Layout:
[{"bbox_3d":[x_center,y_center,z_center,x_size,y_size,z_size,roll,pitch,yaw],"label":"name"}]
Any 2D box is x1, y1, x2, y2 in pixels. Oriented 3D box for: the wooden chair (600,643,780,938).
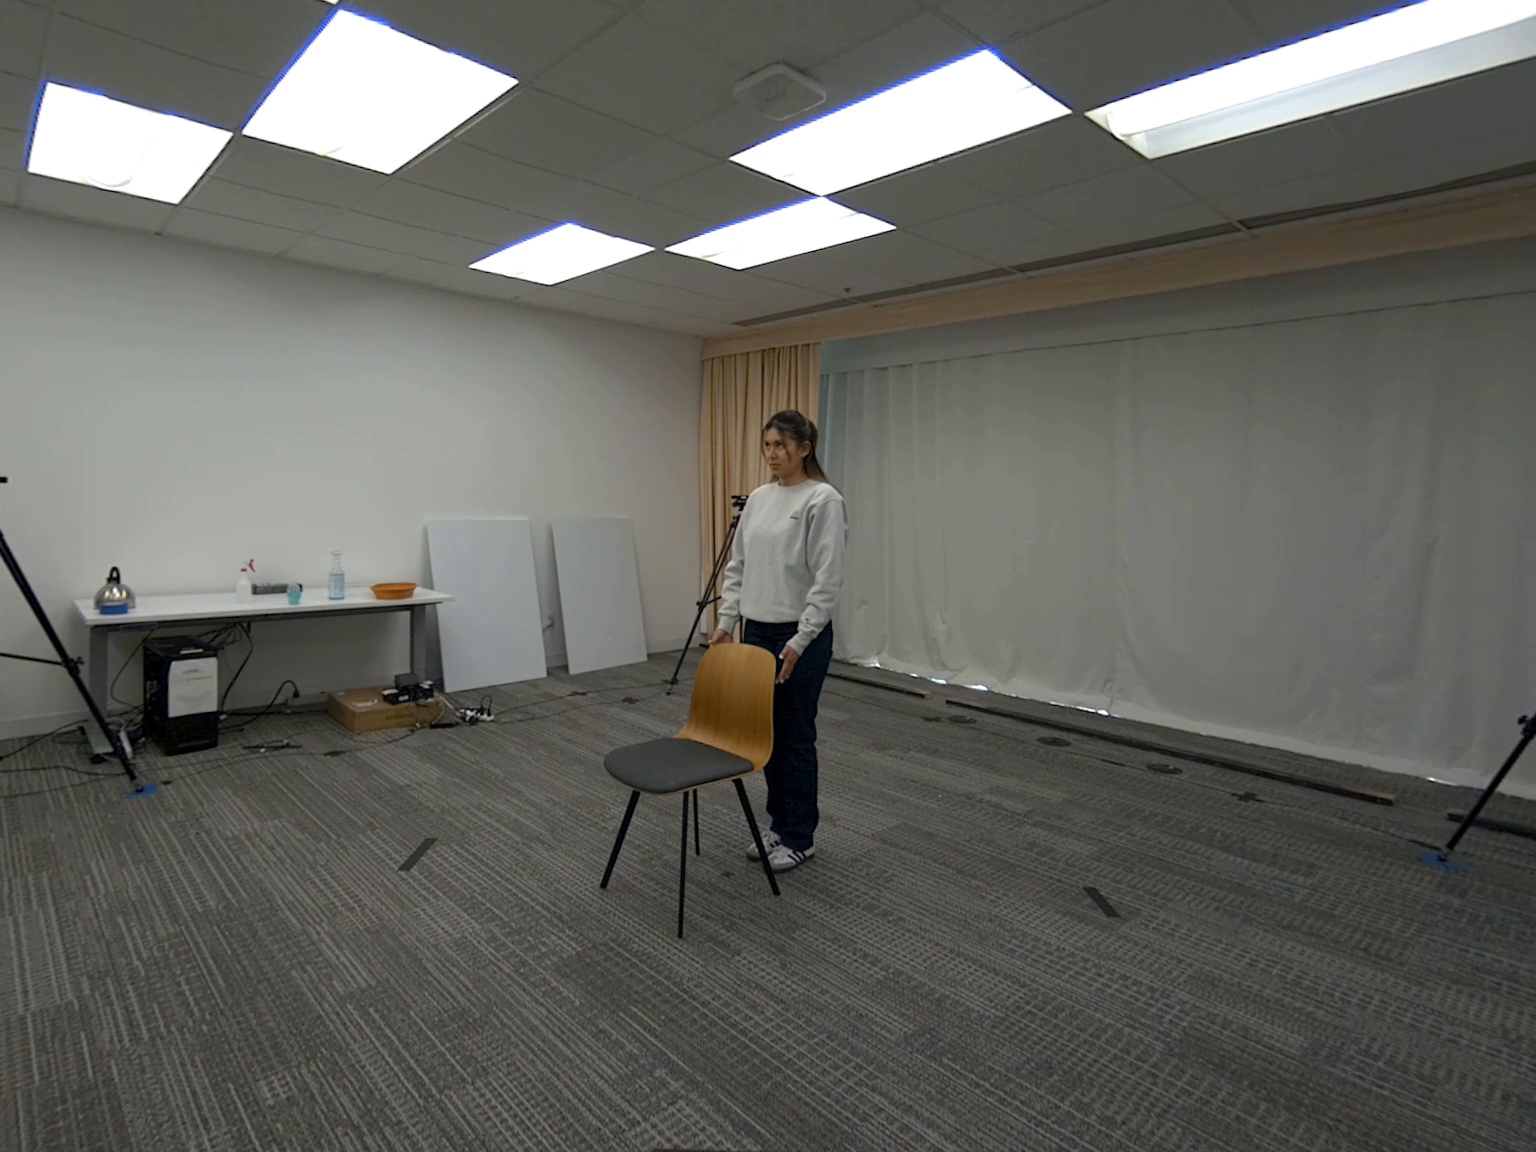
[{"bbox_3d":[-0.273,0.688,2.918,0.510,0.877,0.490,4,1,-44],"label":"wooden chair"}]
